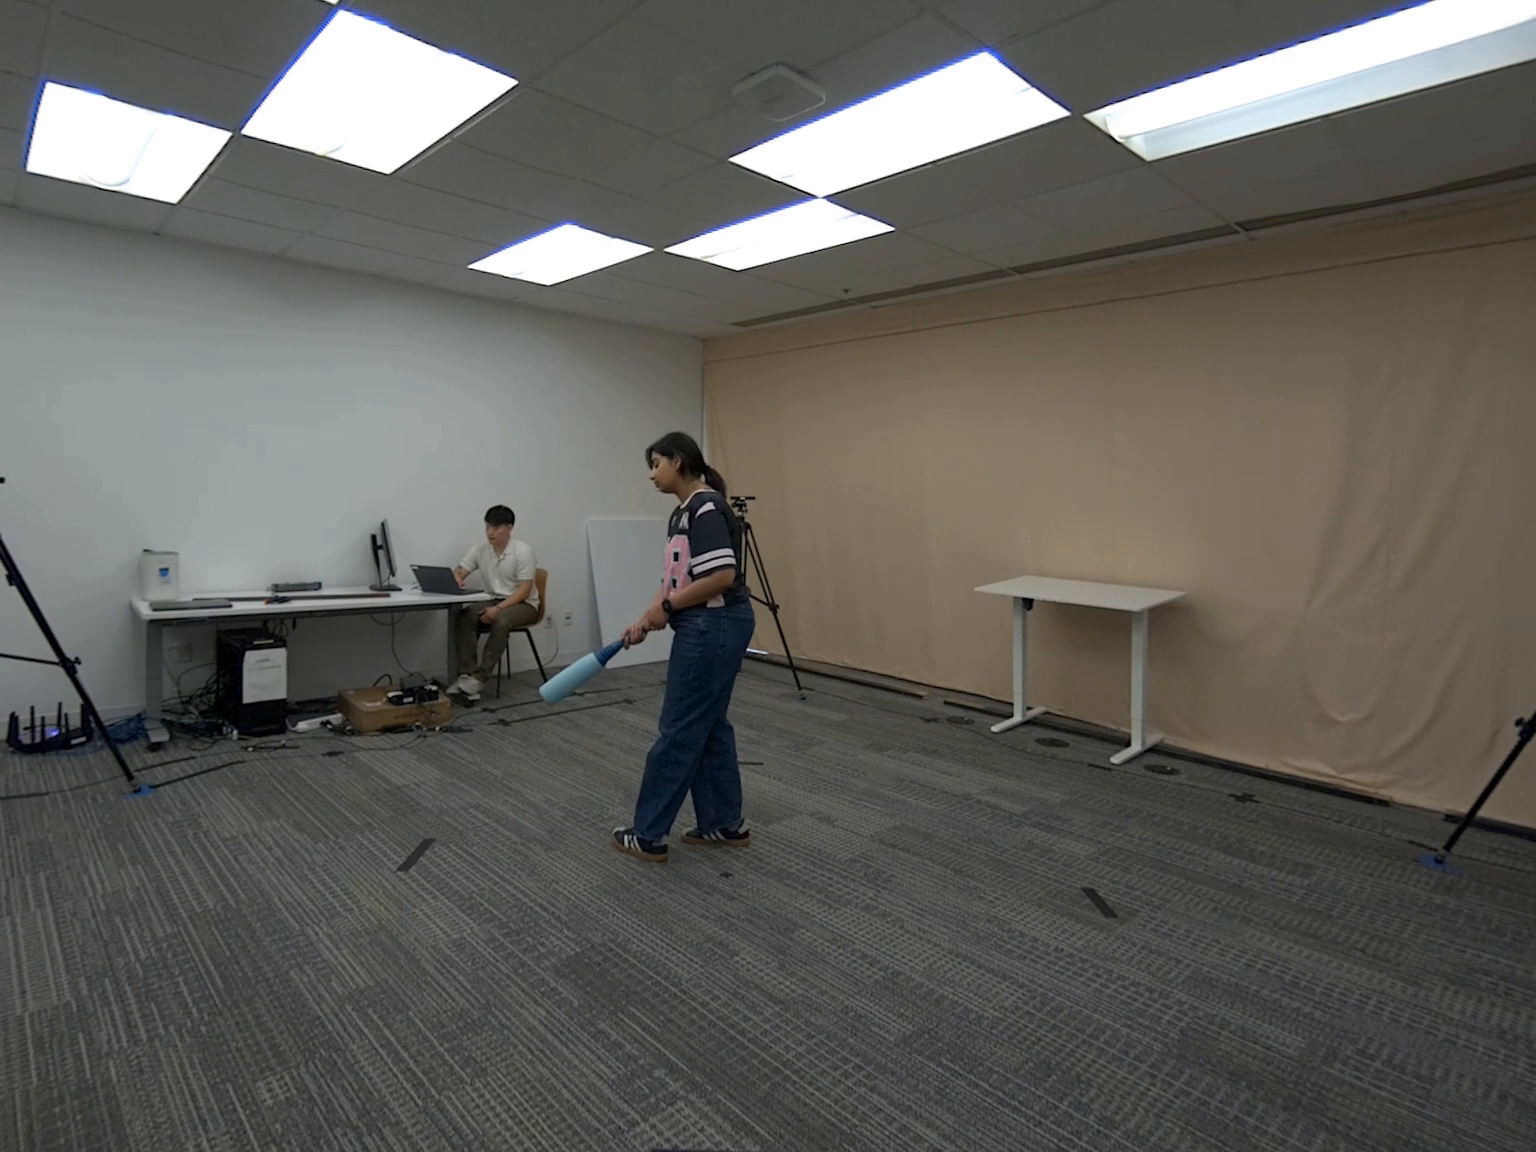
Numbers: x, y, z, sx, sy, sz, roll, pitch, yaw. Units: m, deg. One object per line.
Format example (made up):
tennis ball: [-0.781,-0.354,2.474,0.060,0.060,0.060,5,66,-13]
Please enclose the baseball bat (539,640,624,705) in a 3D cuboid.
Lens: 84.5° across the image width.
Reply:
baseball bat: [-0.636,0.310,3.196,0.542,0.088,0.090,-35,9,-5]
